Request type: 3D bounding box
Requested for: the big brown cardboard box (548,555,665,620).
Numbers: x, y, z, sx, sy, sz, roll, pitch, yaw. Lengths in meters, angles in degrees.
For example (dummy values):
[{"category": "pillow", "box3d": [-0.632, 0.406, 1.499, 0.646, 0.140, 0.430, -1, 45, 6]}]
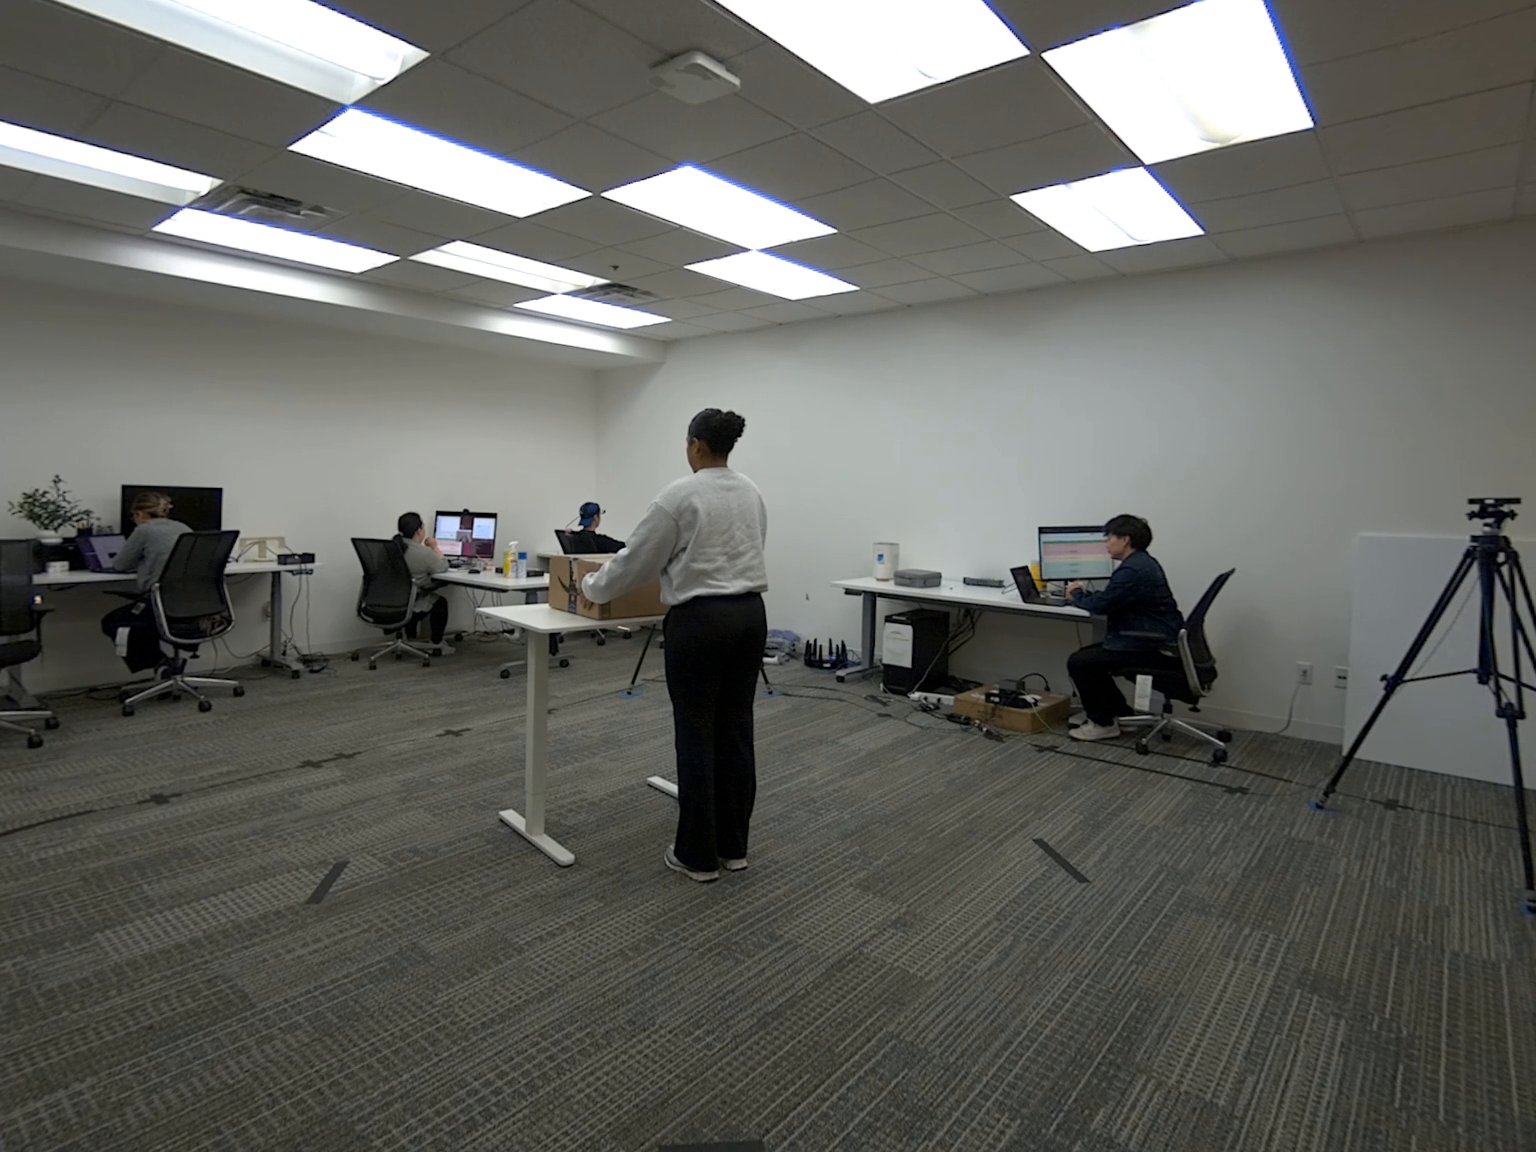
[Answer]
[{"category": "big brown cardboard box", "box3d": [-0.575, 0.025, 3.531, 0.572, 0.232, 0.432, -4, 7, -40]}]
